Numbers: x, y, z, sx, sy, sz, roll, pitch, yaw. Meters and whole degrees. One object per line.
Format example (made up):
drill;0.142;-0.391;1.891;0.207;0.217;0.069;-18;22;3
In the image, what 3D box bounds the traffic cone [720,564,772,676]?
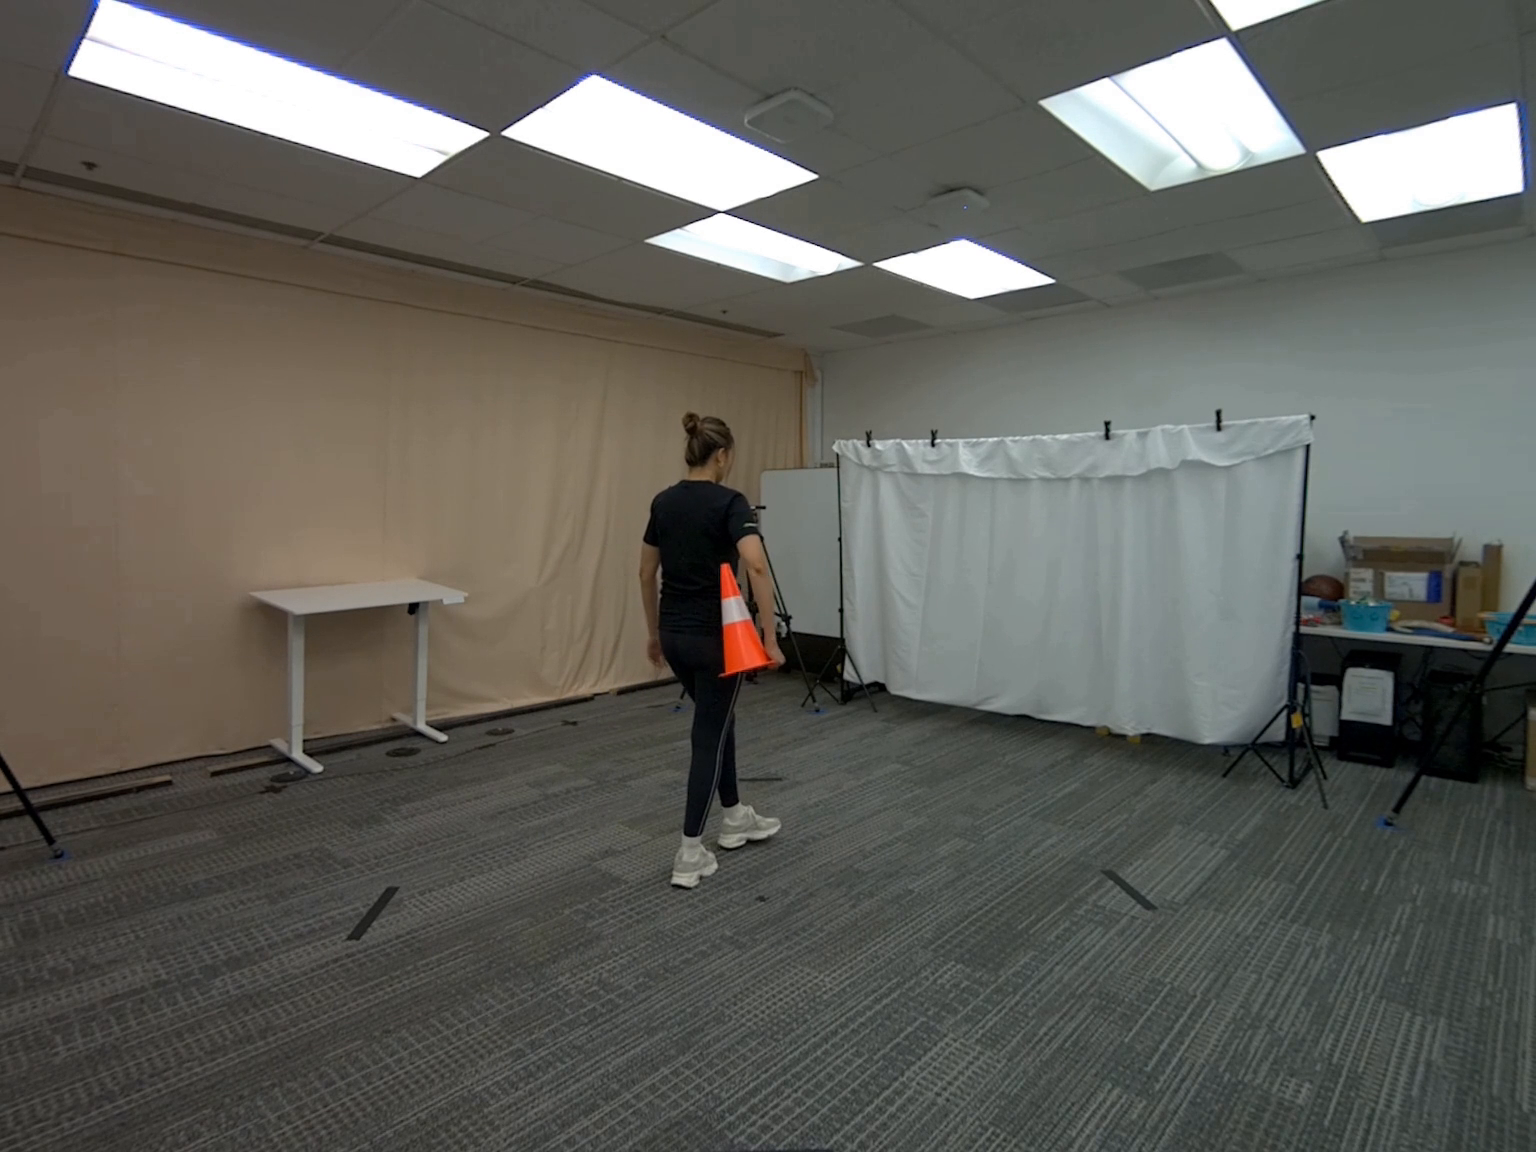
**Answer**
traffic cone;-0.114;0.142;2.993;0.207;0.386;0.199;-18;-8;27
